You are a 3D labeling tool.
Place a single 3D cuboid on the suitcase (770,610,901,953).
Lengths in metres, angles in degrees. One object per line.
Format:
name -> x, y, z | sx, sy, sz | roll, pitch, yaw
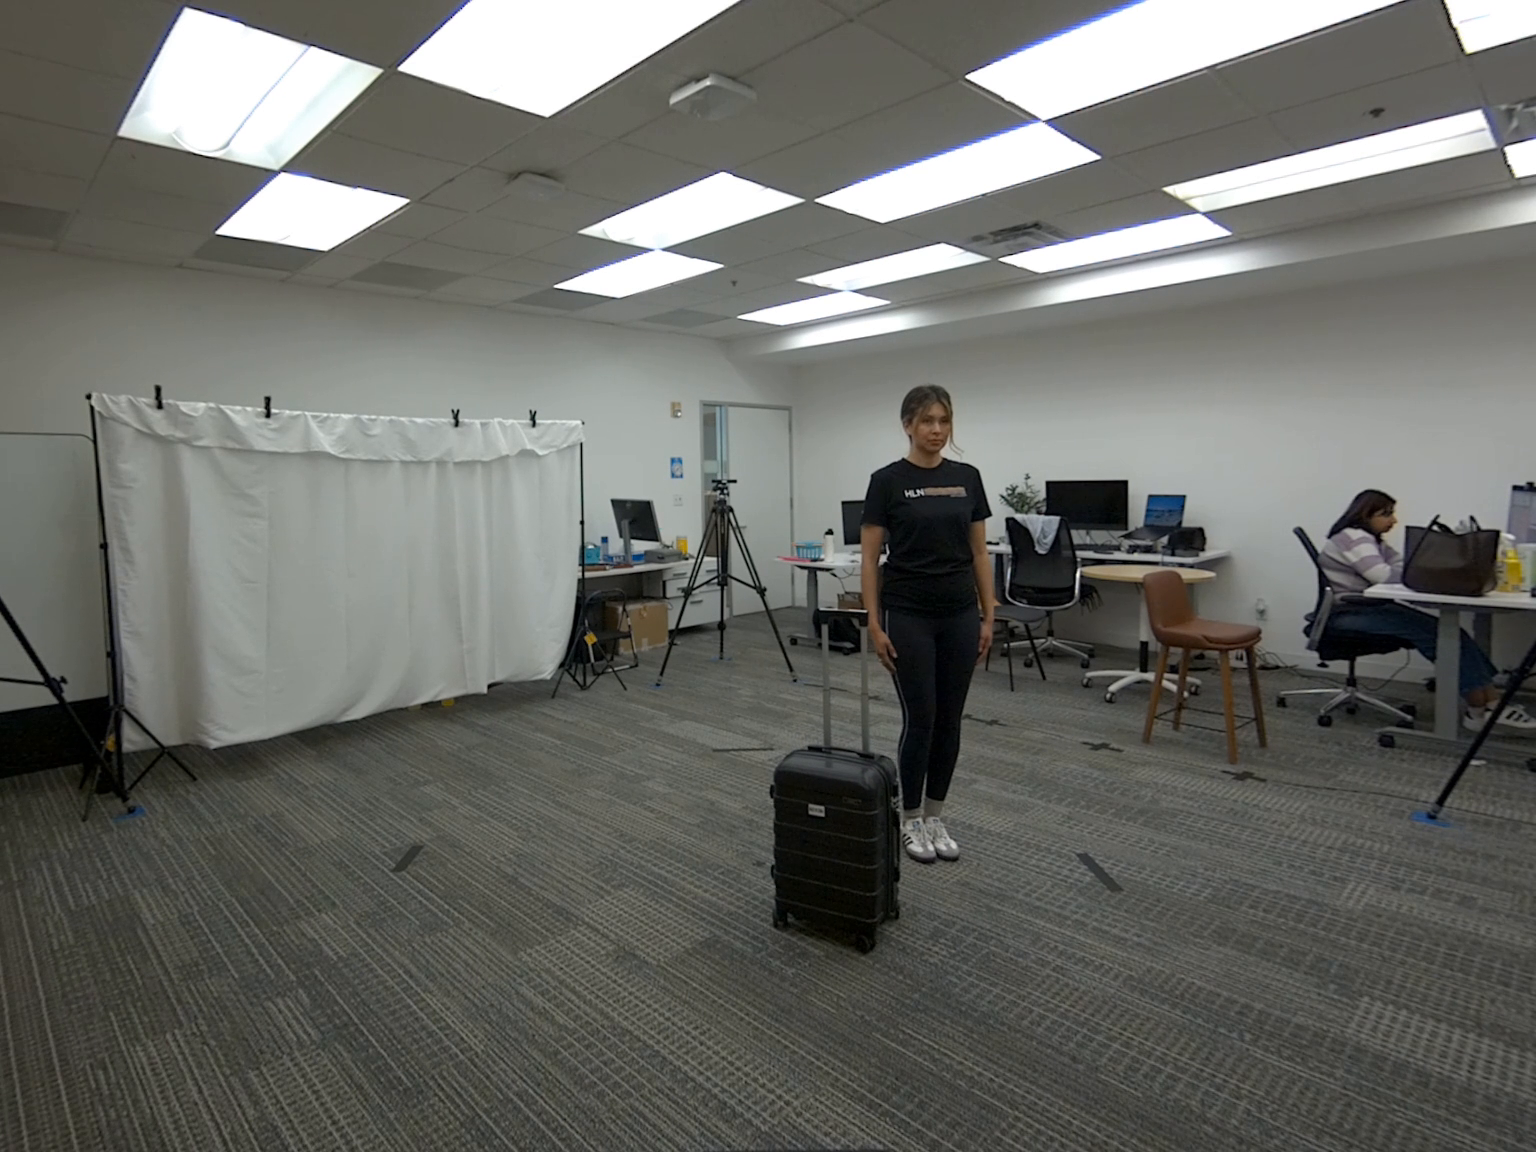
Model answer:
suitcase -> 0.214, 0.619, 2.631 | 0.393, 0.973, 0.252 | 1, 7, 28
